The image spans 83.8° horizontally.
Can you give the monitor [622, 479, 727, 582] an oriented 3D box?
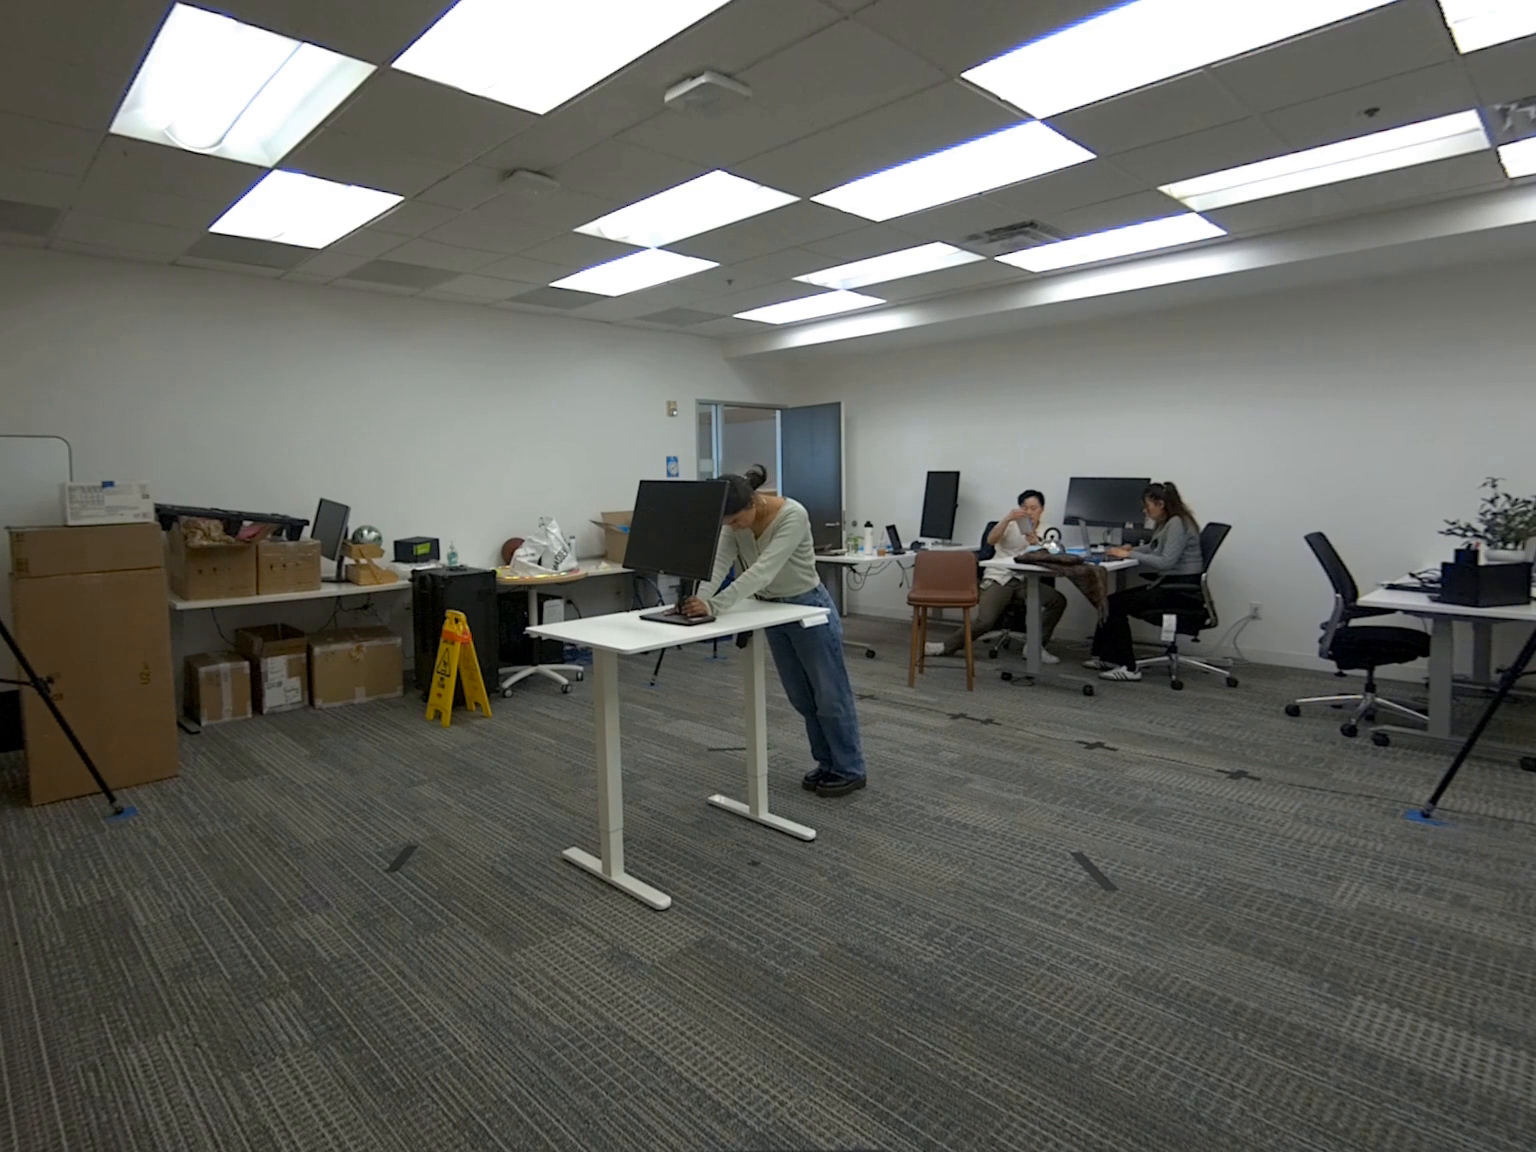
[{"bbox_3d":[-0.326,-0.090,3.148,0.182,0.521,0.556,-2,5,-43],"label":"monitor"}]
